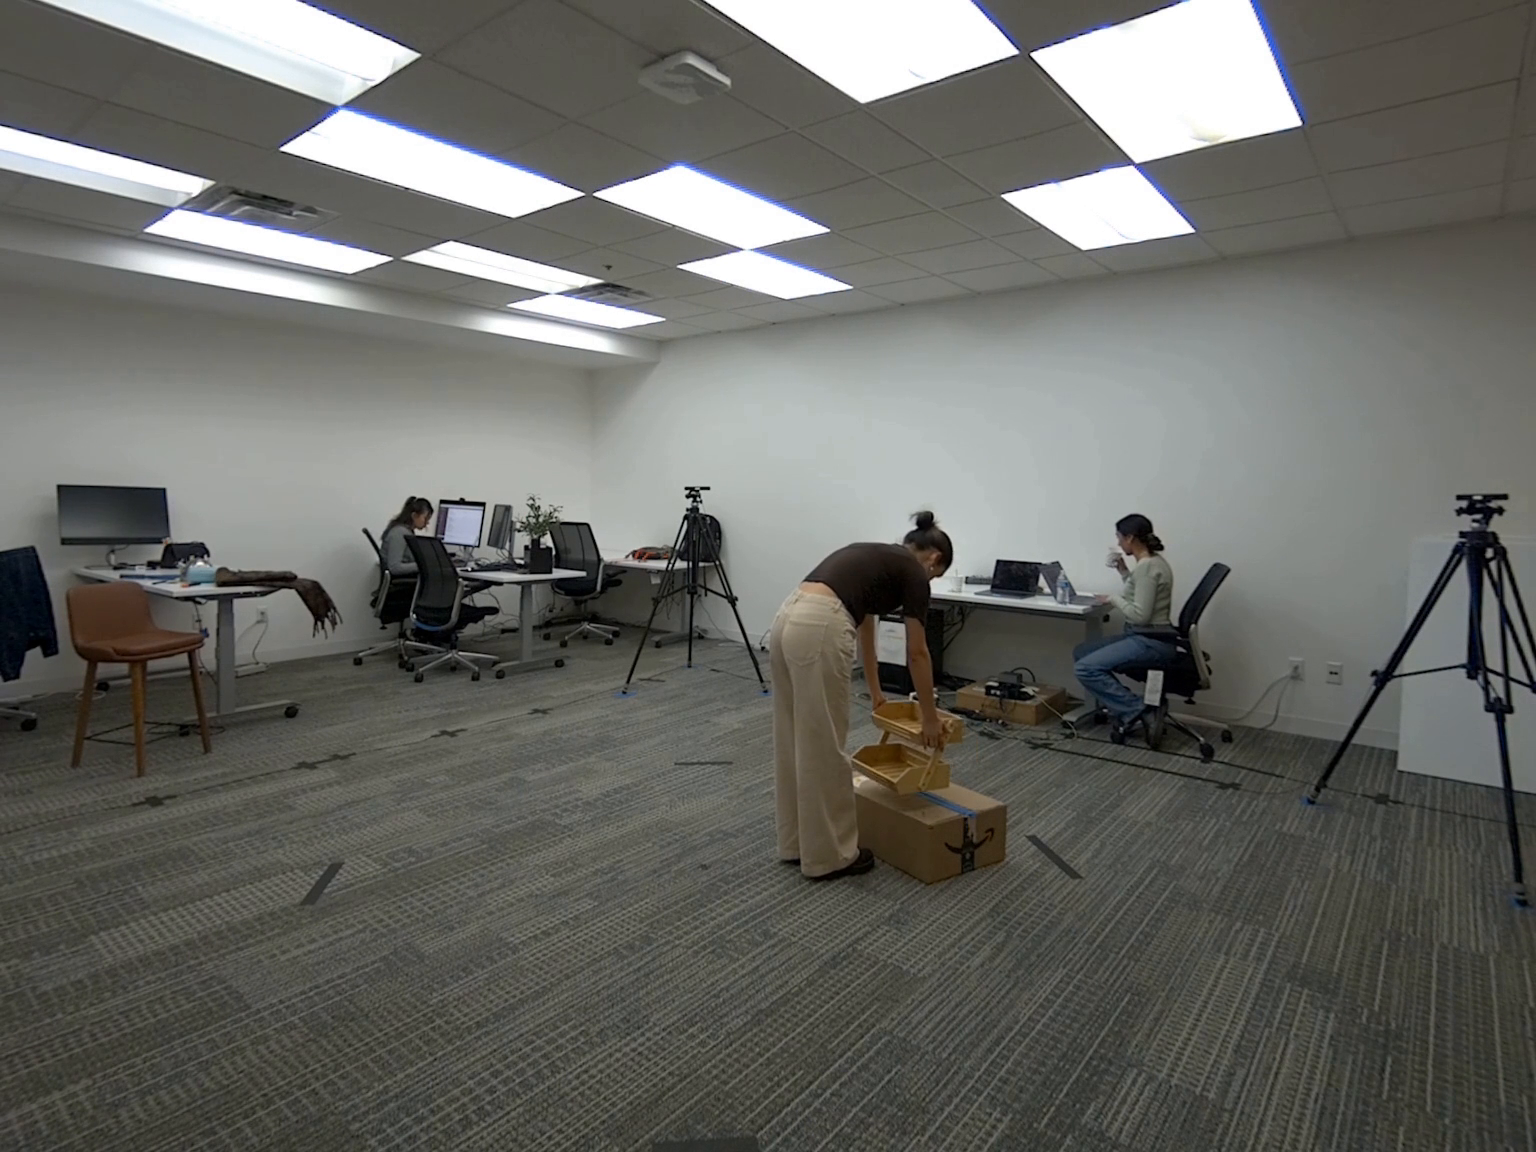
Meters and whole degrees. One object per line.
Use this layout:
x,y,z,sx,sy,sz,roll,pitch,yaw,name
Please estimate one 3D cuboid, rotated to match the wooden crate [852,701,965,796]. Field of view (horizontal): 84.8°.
0.513,0.640,3.278,0.294,0.272,0.334,1,4,-26,wooden crate
